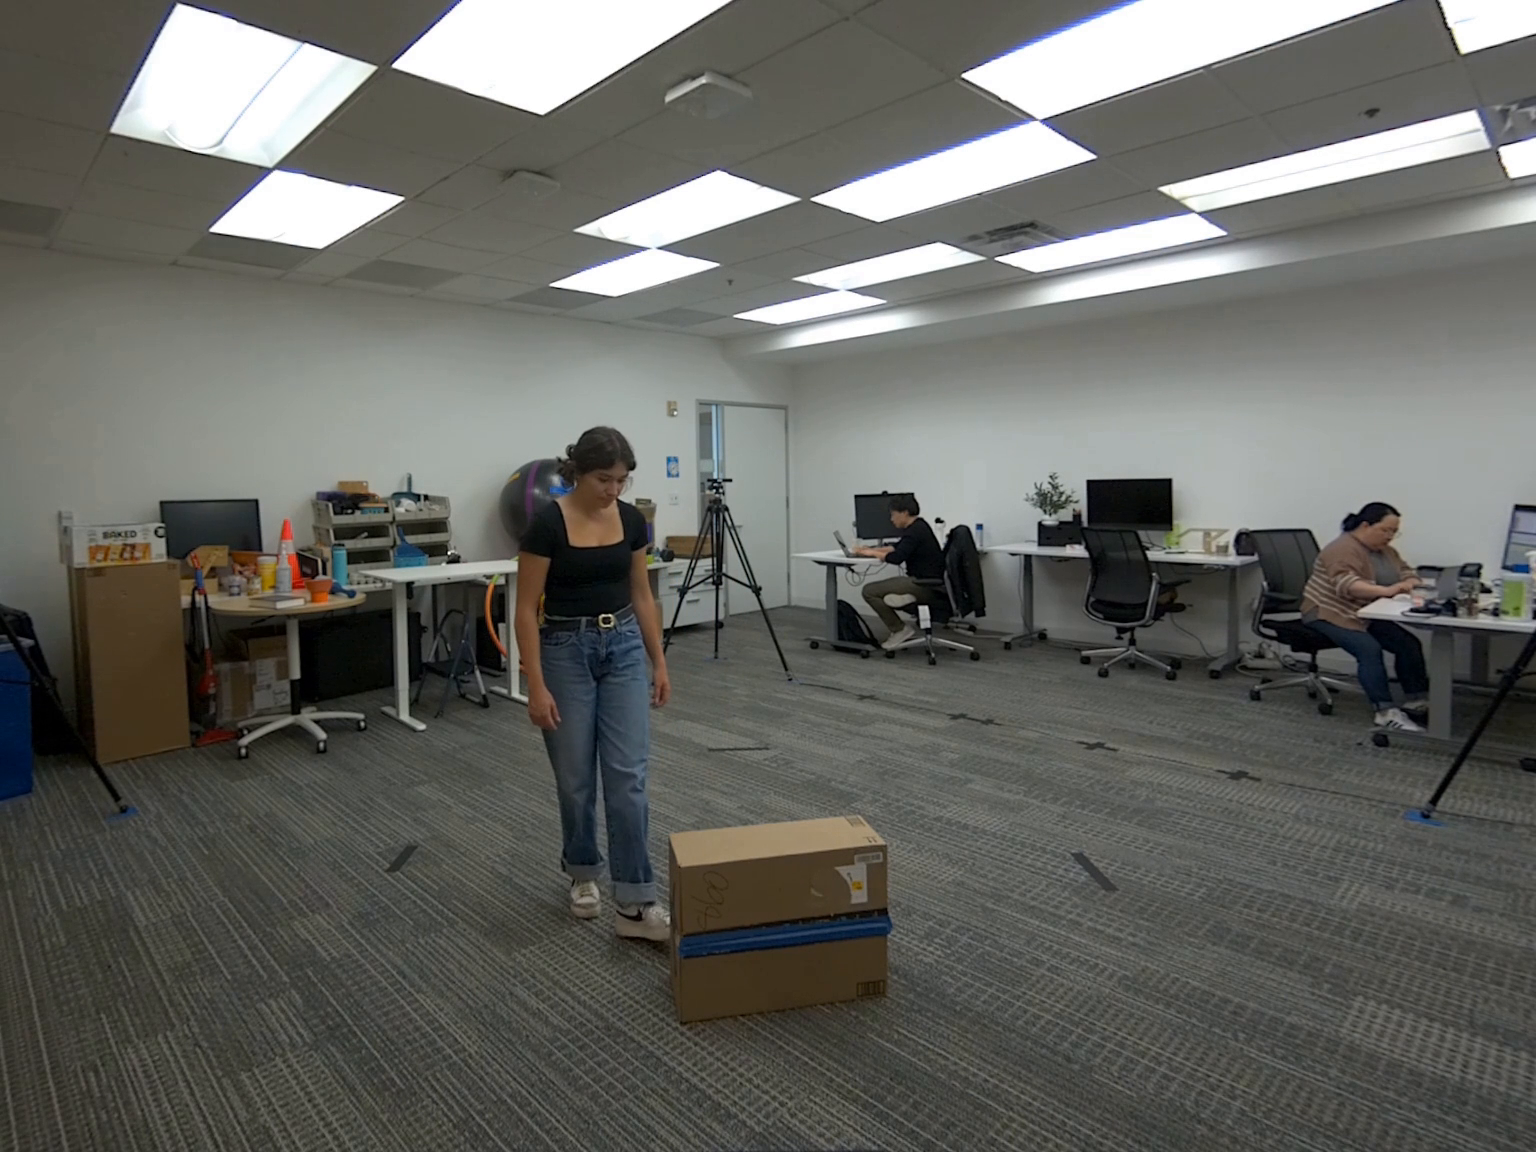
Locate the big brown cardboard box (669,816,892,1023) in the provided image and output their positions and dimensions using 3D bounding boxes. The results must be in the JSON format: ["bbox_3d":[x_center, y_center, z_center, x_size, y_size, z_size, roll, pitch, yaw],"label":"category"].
[{"bbox_3d":[0.033,0.924,2.338,0.583,0.416,0.236,-2,3,-10],"label":"big brown cardboard box"}]
